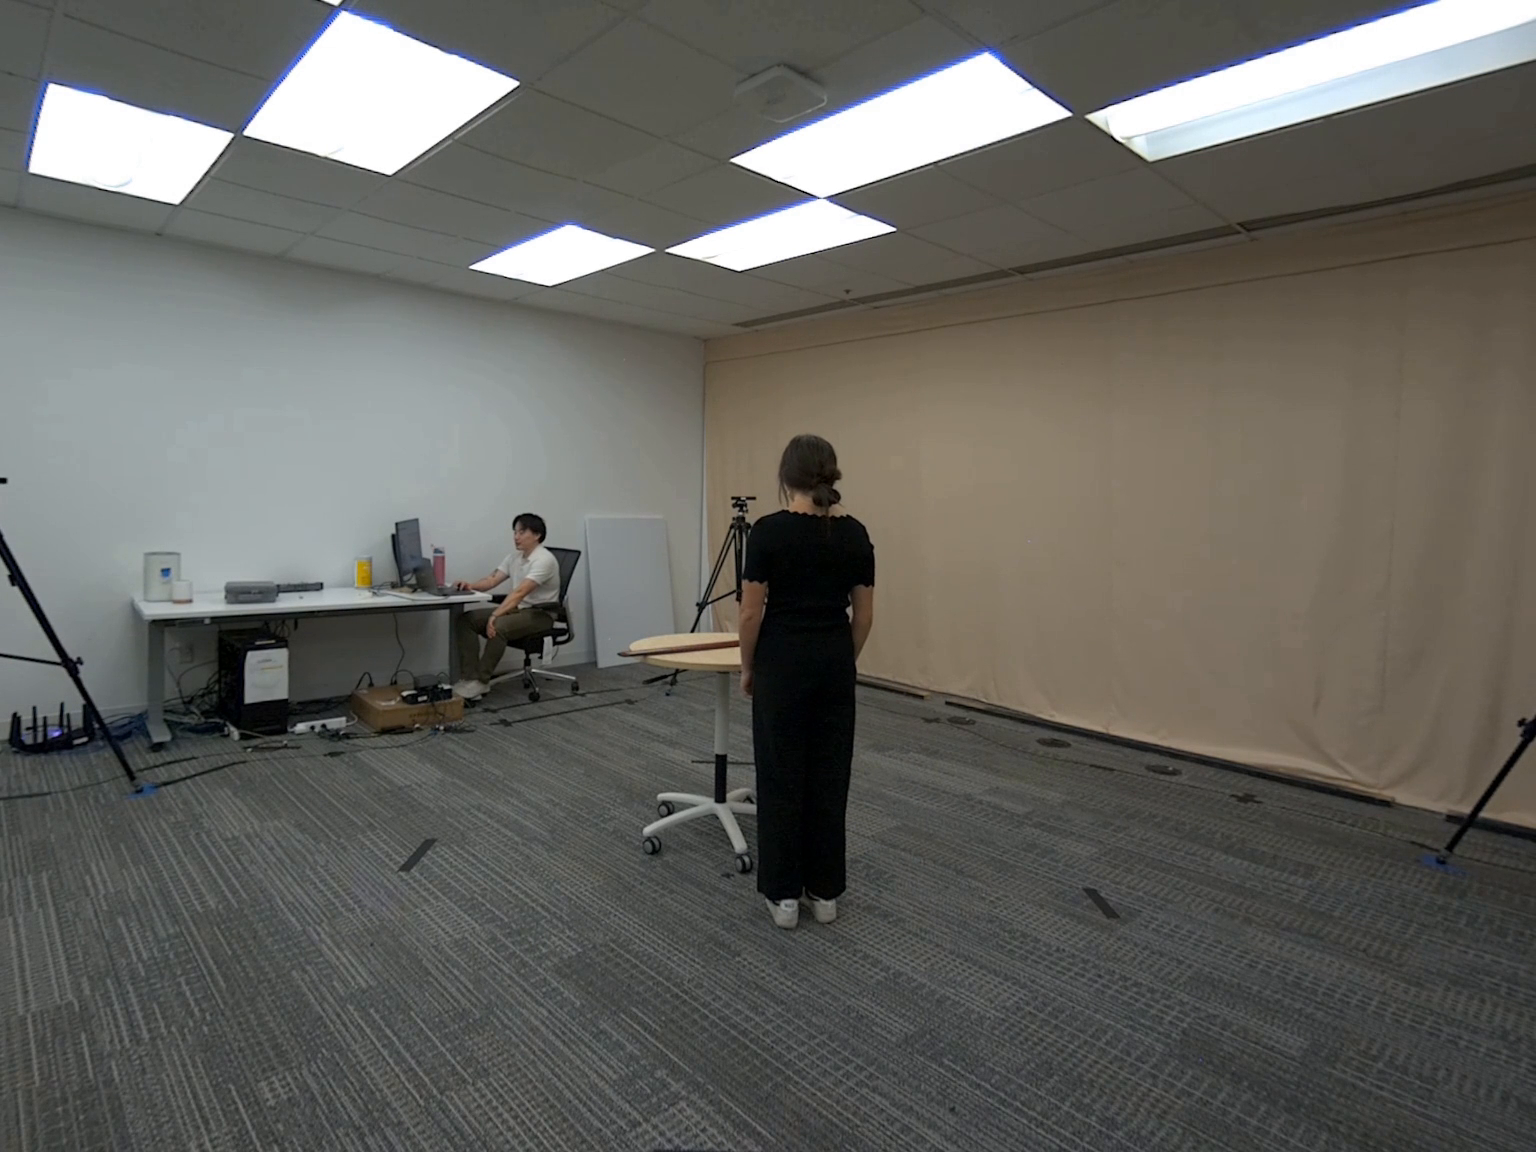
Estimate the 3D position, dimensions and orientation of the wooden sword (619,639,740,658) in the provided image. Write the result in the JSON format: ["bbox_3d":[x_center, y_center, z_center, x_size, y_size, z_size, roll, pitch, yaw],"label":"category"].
[{"bbox_3d":[-0.152,0.284,3.453,1.002,0.024,0.053,-4,40,-44],"label":"wooden sword"}]
